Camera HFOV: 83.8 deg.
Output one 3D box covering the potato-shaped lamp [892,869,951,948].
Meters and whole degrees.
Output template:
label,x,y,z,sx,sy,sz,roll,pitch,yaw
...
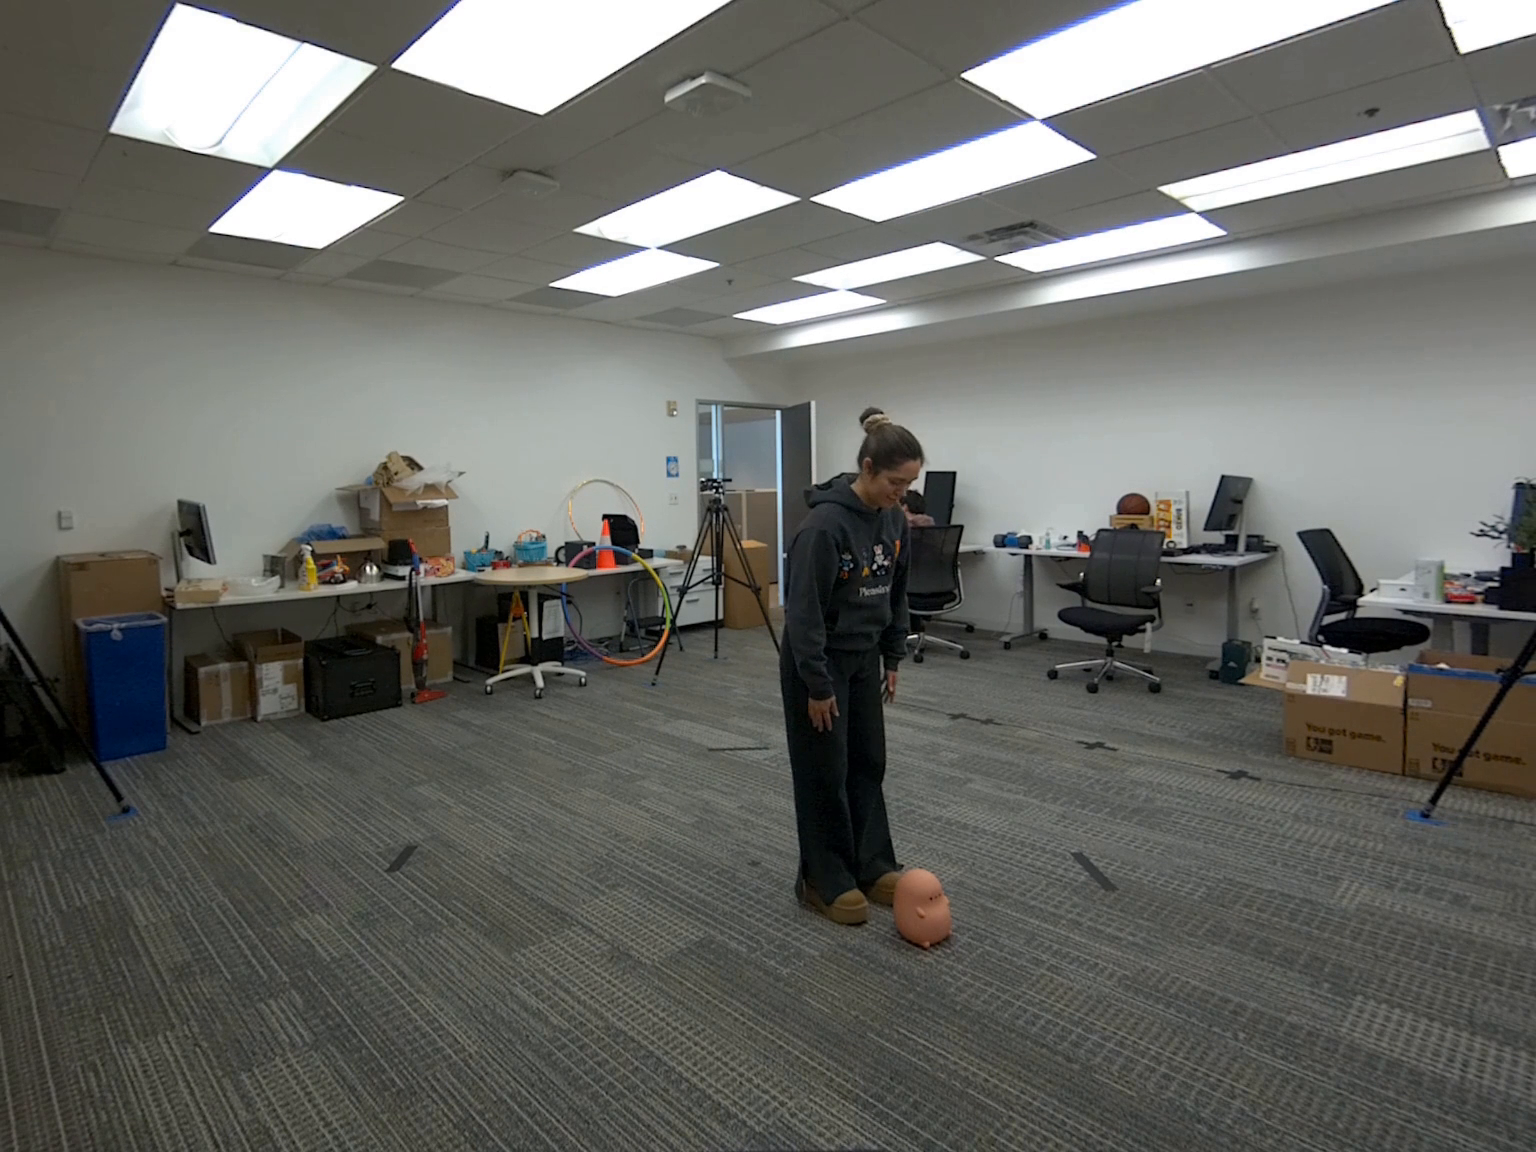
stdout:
label,x,y,z,sx,sy,sz,roll,pitch,yaw
potato-shaped lamp,0.467,0.993,2.584,0.160,0.198,0.176,-5,3,-36
